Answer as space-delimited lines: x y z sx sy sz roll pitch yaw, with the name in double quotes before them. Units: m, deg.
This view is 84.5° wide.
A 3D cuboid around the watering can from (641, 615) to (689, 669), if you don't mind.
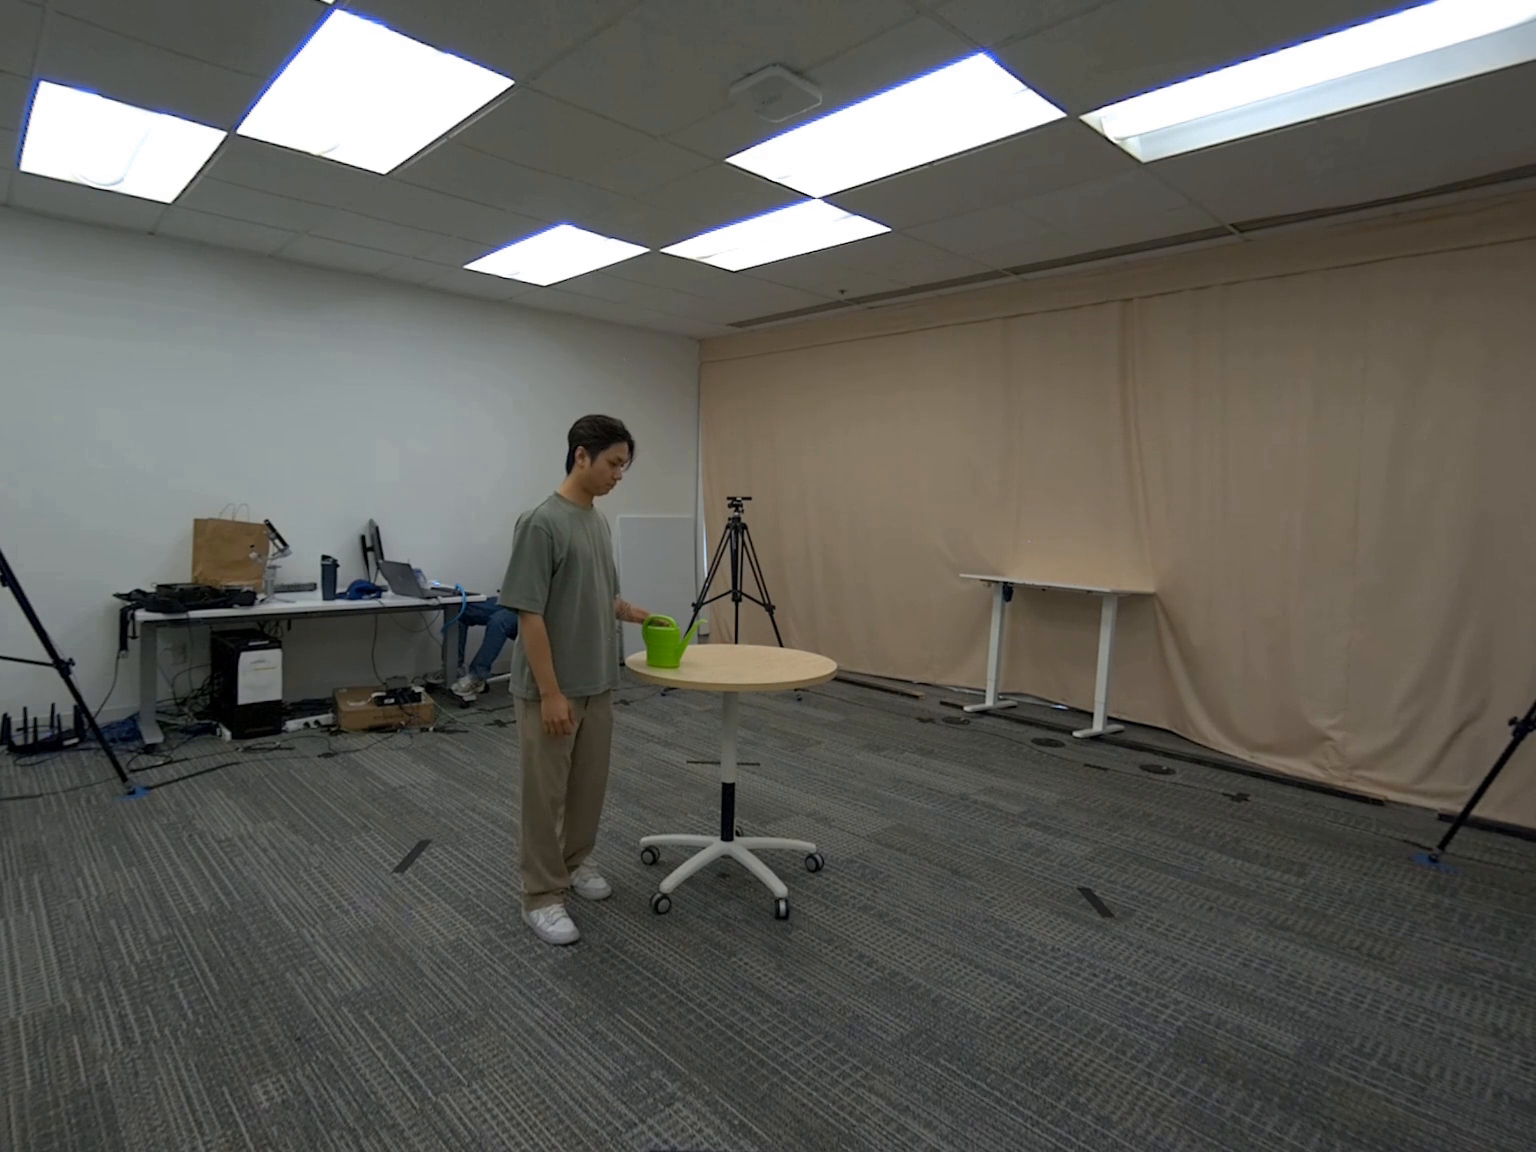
"watering can" -0.336 0.236 2.921 0.096 0.176 0.285 -1 4 -42
